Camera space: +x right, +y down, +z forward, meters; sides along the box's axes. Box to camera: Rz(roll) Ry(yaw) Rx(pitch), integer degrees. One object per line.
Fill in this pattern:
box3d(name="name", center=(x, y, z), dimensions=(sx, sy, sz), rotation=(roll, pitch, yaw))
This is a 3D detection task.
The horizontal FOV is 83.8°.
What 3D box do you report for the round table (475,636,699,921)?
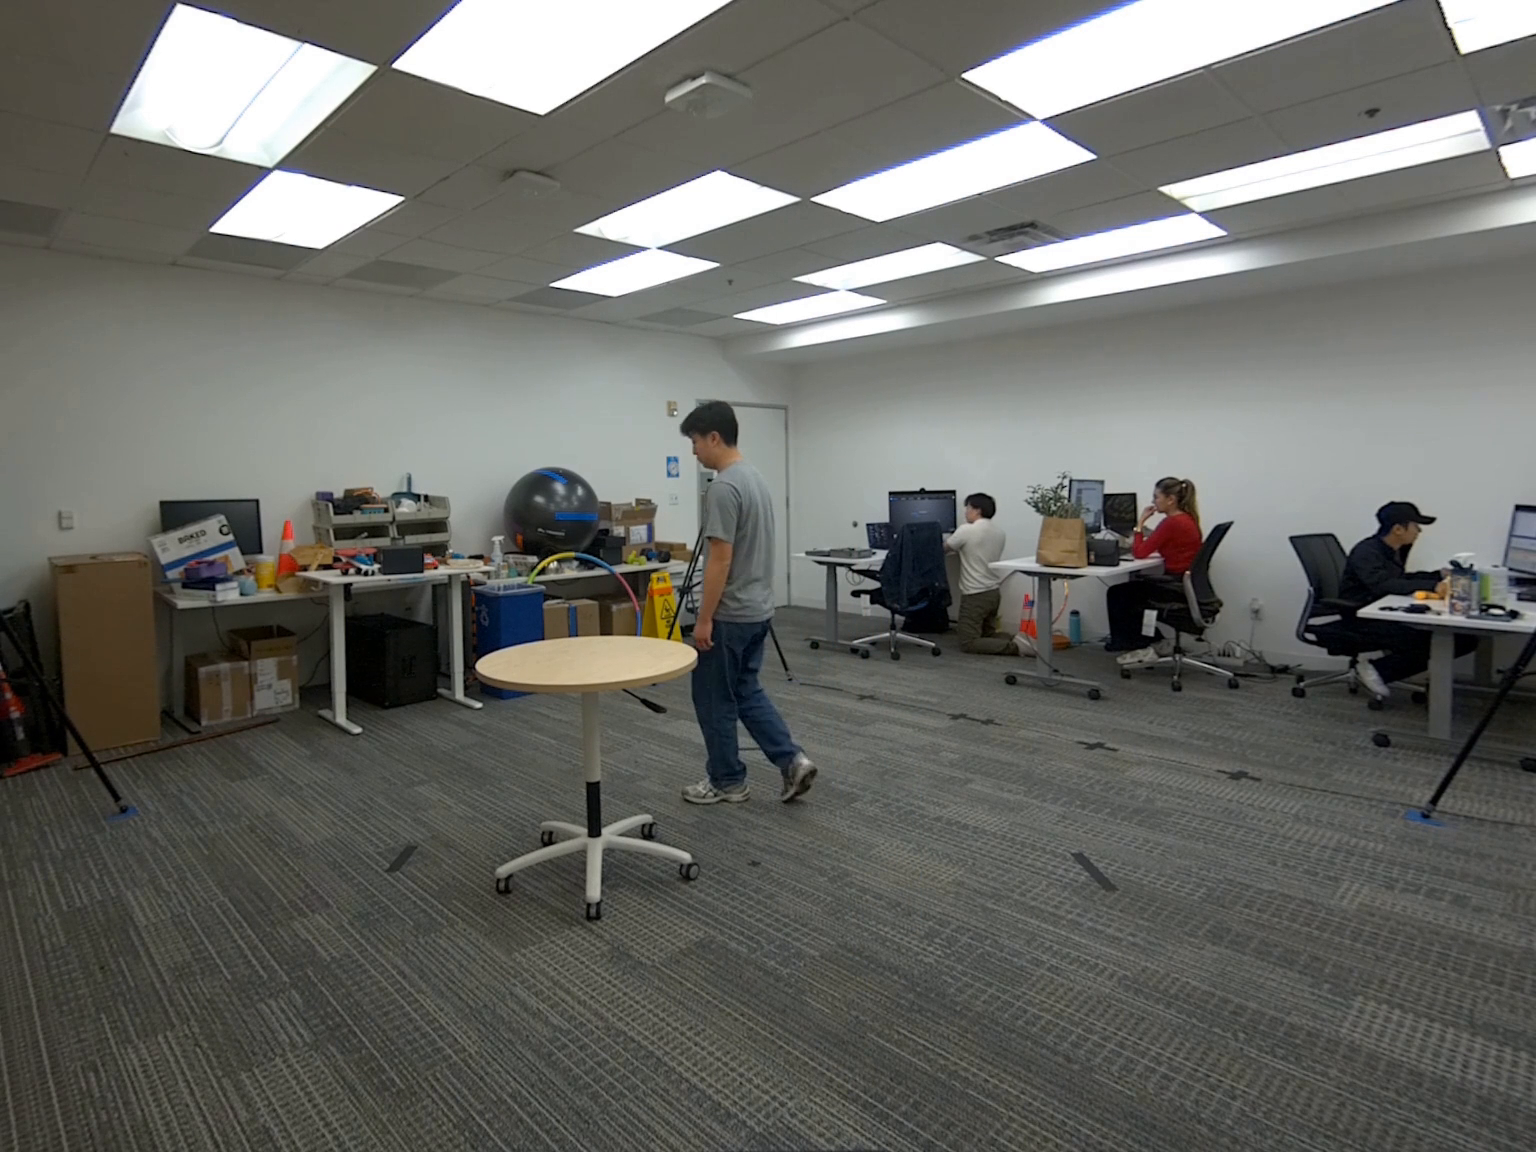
box3d(name="round table", center=(-0.615, 0.676, 3.026), dimensions=(0.763, 0.791, 0.768), rotation=(-2, 5, -2))
